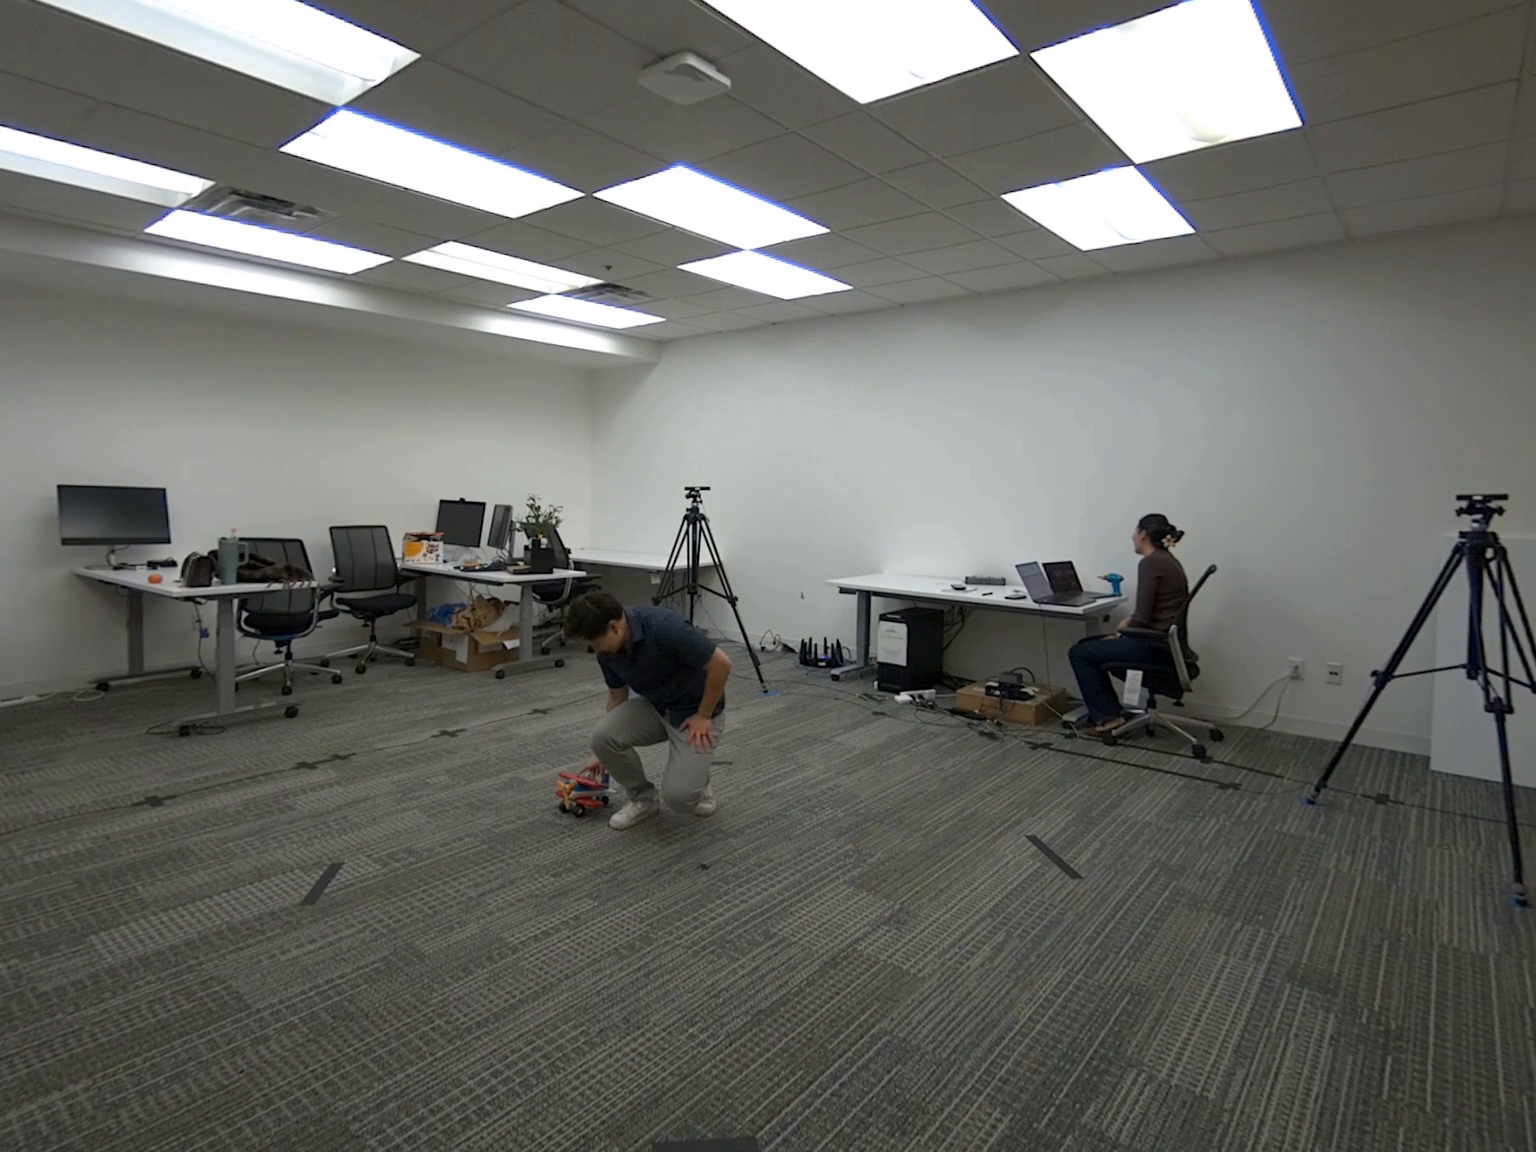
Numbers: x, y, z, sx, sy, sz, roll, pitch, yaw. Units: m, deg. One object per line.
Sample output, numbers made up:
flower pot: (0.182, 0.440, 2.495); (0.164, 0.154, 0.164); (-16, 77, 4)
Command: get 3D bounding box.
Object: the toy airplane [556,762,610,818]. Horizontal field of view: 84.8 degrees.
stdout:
toy airplane: (-0.812, 0.929, 3.683); (0.254, 0.156, 0.257); (0, 5, 10)
